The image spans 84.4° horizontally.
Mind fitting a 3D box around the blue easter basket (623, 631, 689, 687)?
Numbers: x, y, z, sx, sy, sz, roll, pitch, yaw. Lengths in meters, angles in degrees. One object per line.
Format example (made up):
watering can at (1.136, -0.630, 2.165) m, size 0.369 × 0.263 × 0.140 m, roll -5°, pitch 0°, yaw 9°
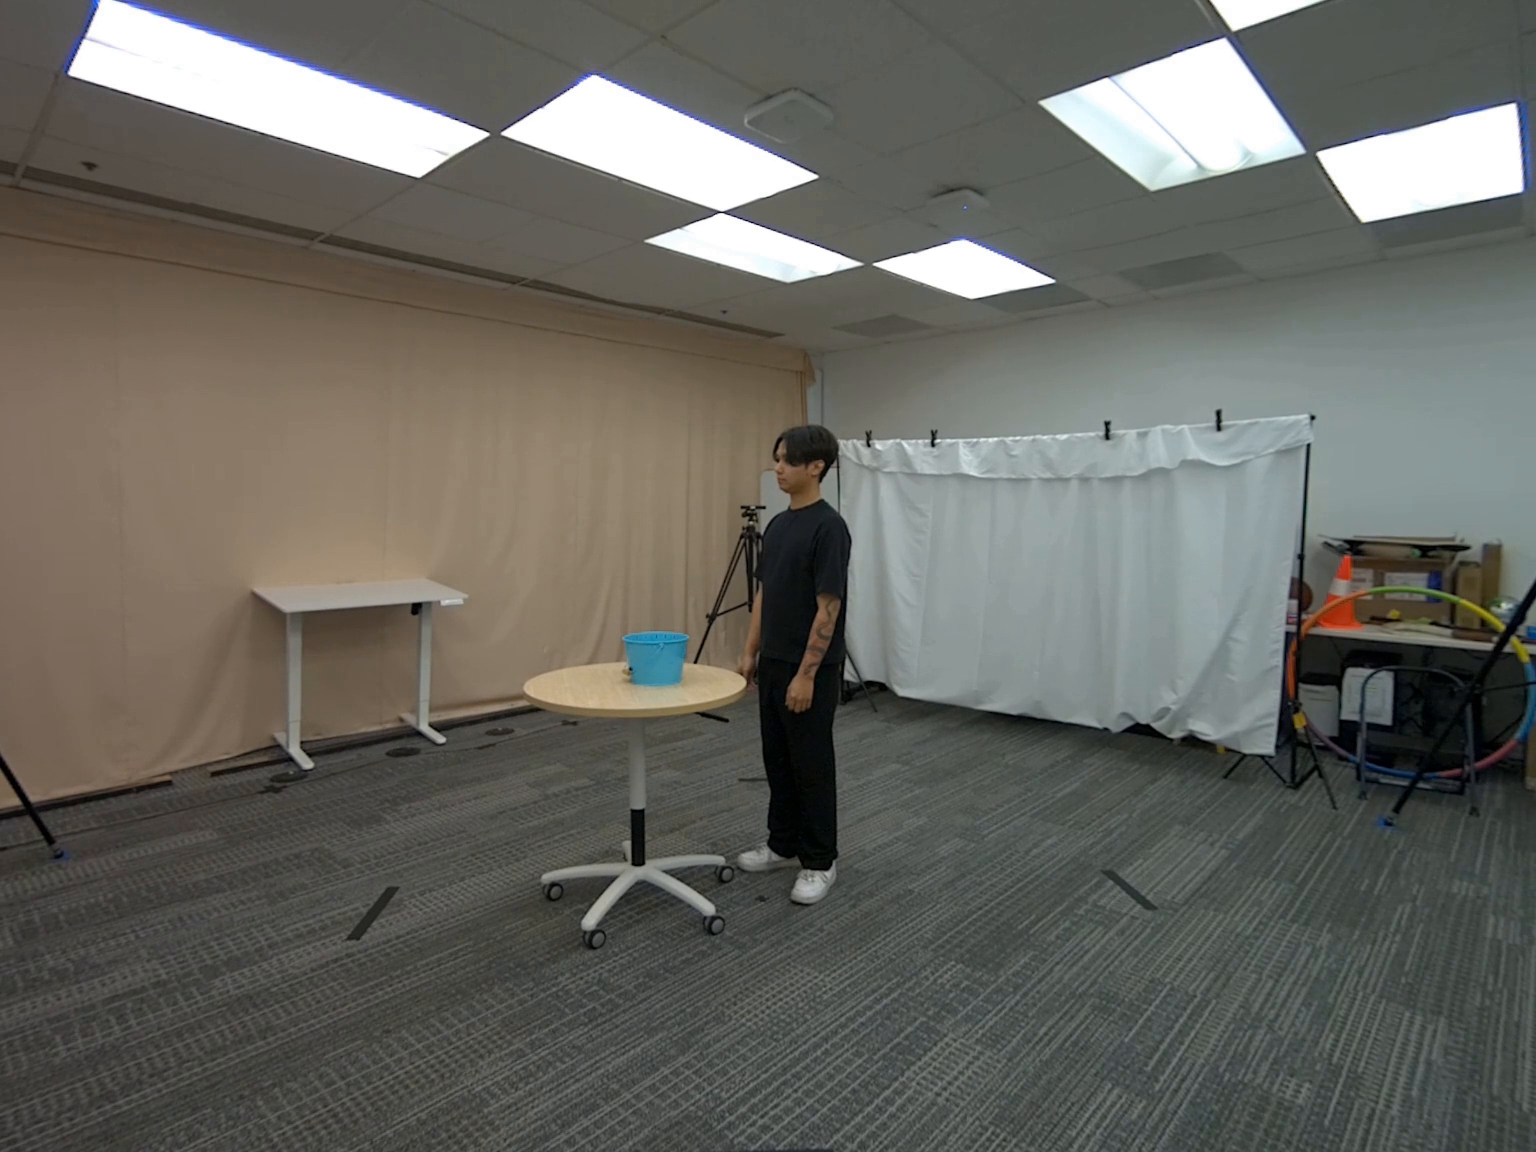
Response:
blue easter basket at (-0.393, 0.297, 2.946) m, size 0.243 × 0.155 × 0.244 m, roll -1°, pitch 5°, yaw -2°
